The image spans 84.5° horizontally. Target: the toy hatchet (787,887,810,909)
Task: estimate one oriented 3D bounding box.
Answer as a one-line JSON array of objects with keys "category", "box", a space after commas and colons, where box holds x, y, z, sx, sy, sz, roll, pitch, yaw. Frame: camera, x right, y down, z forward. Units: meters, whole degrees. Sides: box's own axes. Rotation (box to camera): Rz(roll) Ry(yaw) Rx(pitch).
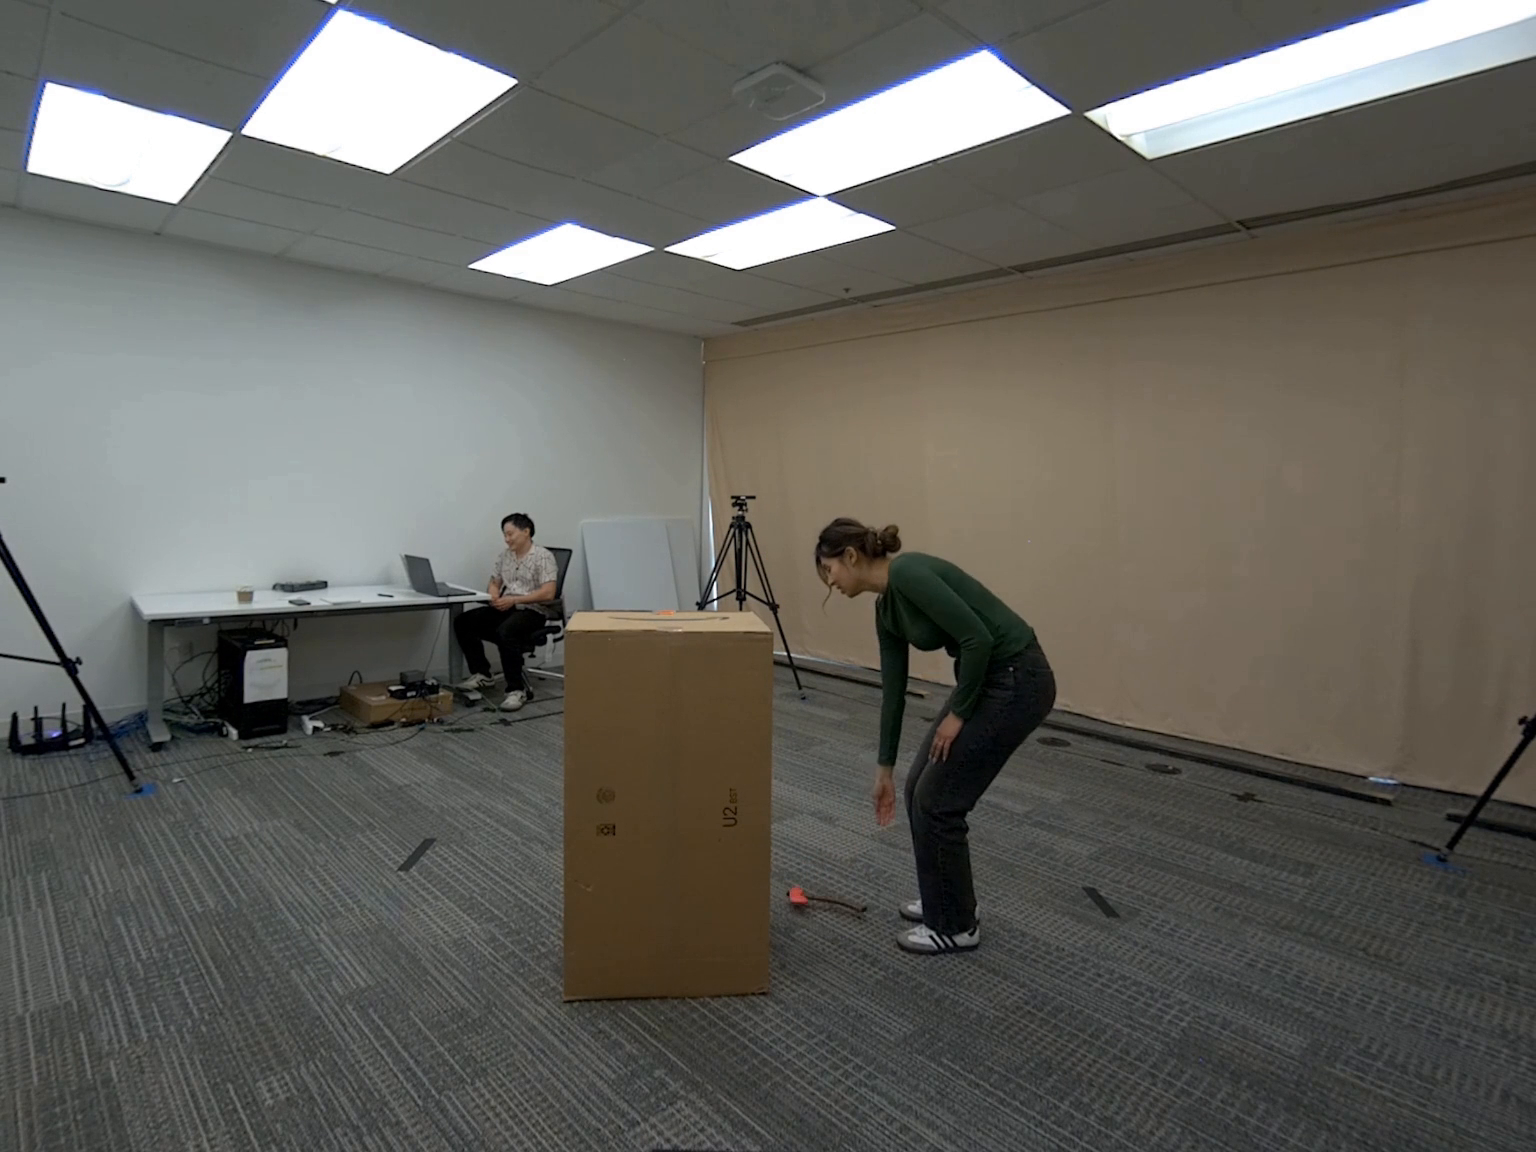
[{"category": "toy hatchet", "box": [0.181, 1.094, 2.828, 0.276, 0.029, 0.128, 4, -1, 31]}]
